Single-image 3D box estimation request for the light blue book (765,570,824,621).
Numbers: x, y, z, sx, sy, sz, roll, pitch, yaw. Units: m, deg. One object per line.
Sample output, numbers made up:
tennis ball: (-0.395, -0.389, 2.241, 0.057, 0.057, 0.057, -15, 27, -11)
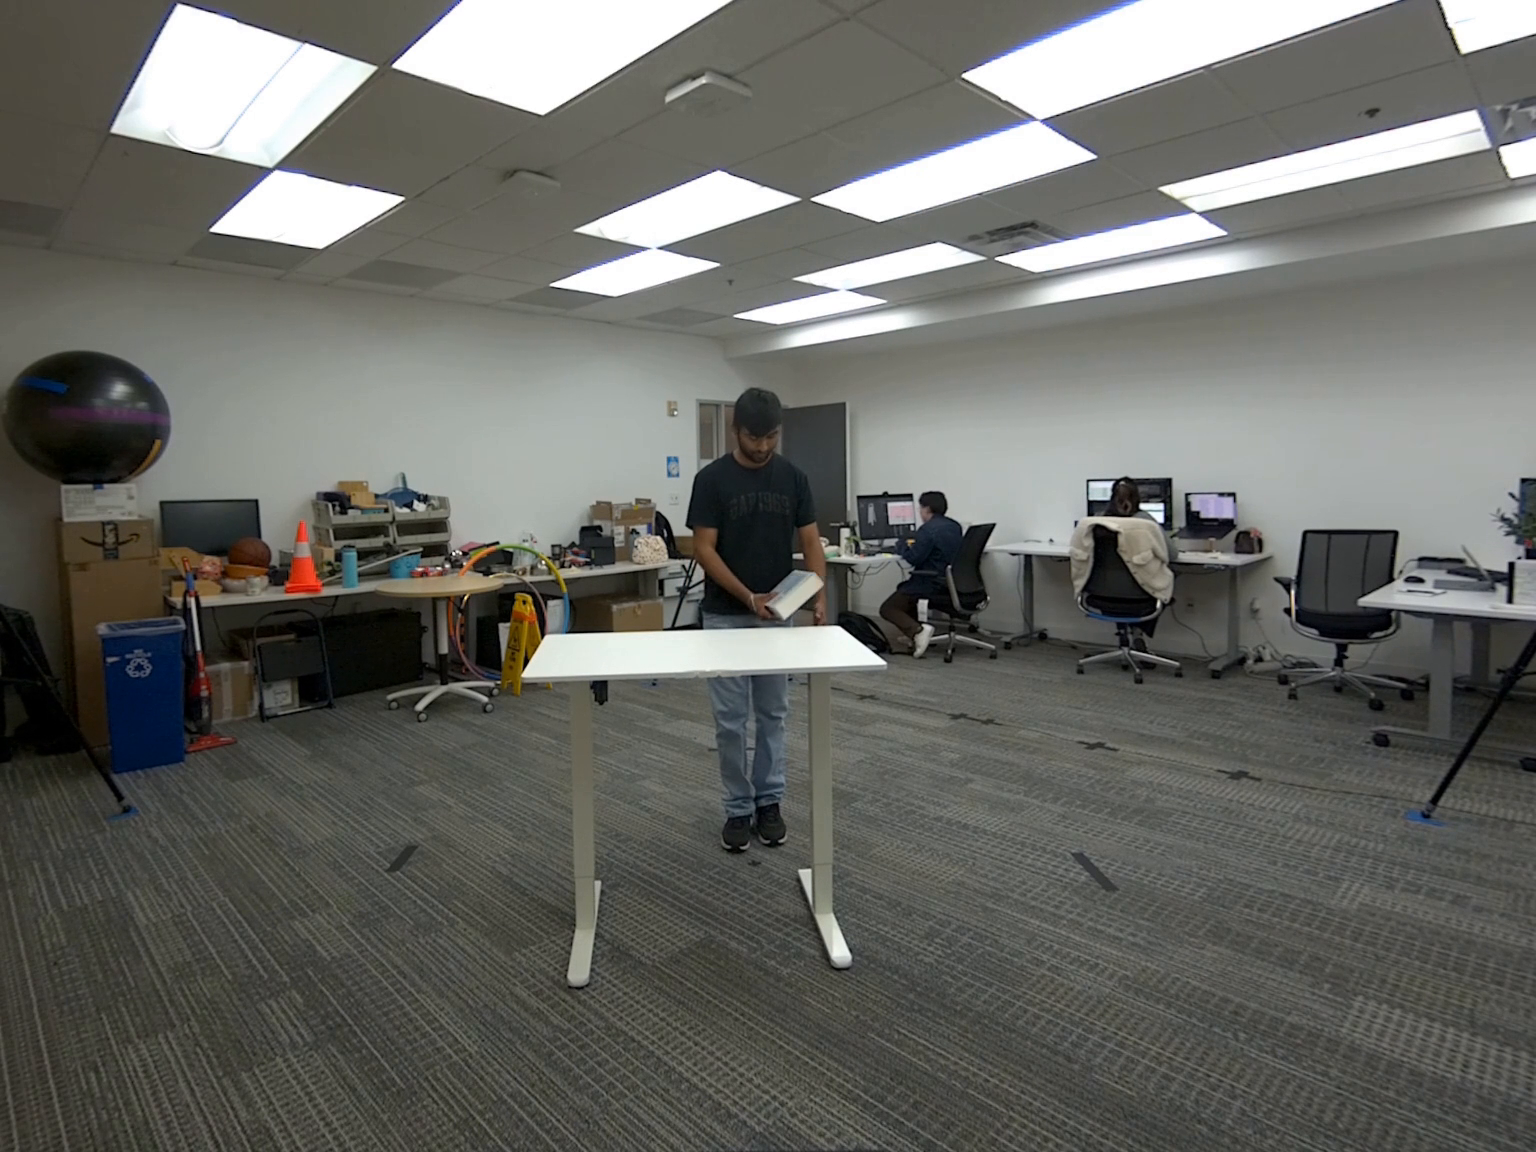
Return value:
light blue book: (0.074, 0.070, 3.049, 0.191, 0.058, 0.263, -46, 8, -6)
